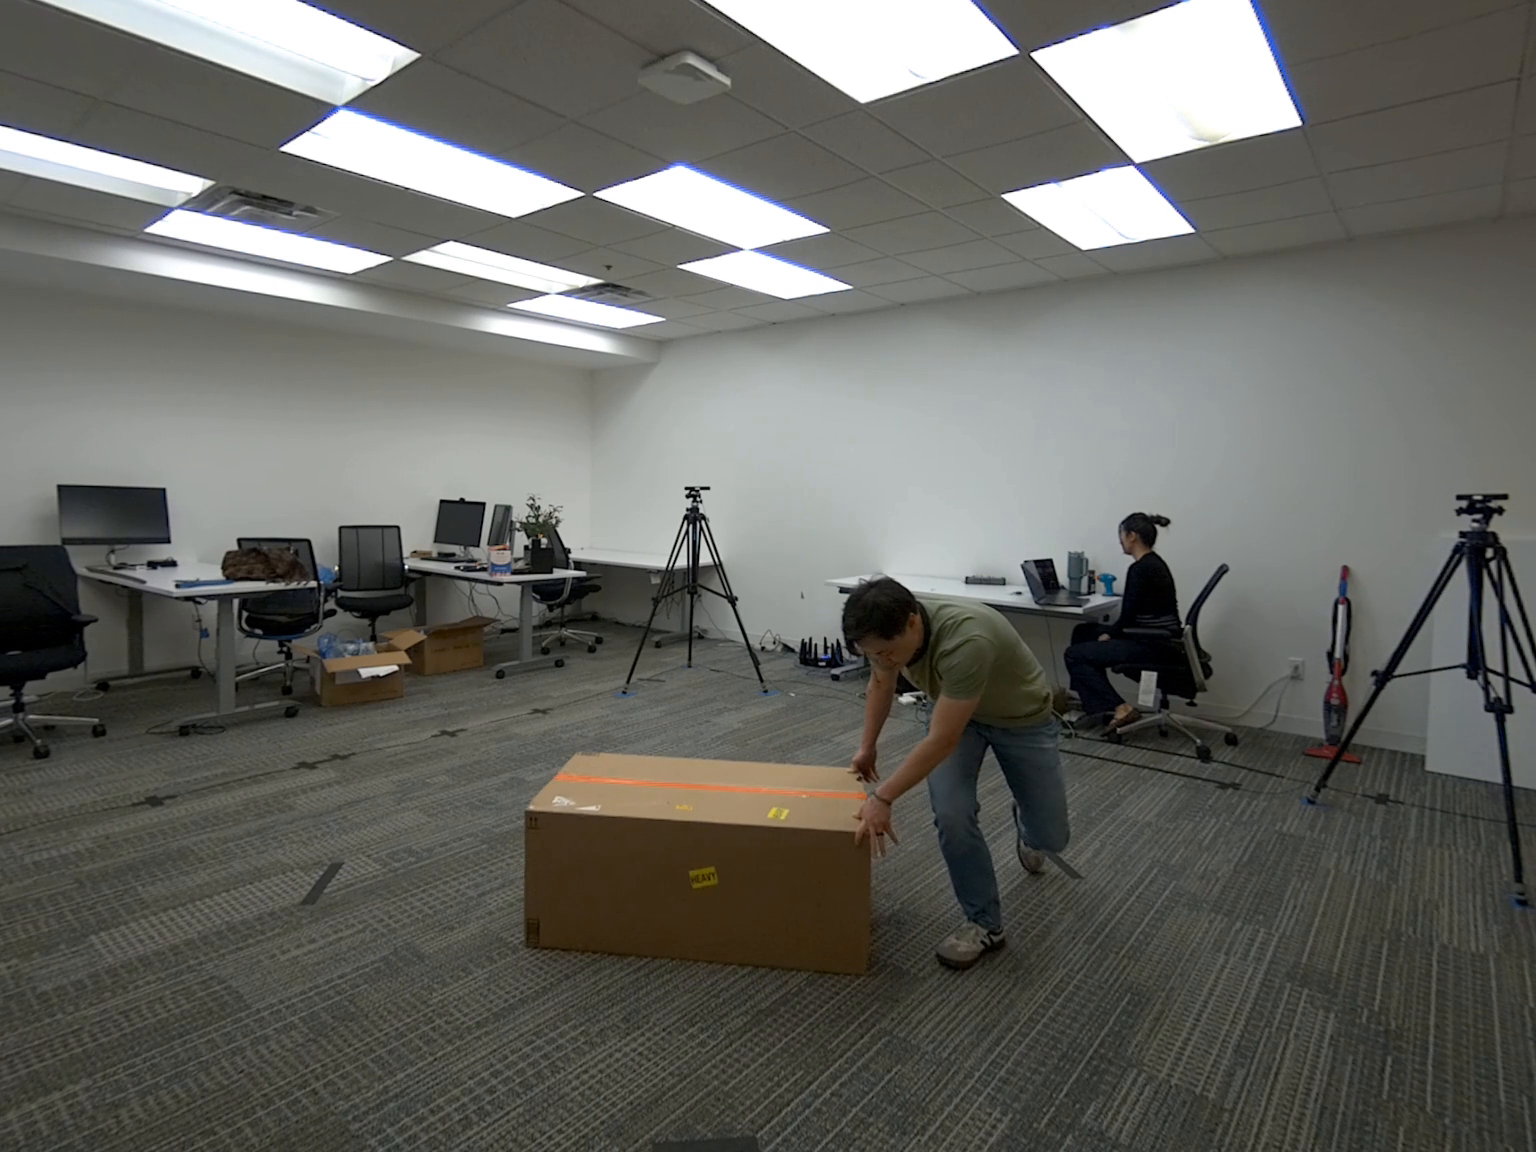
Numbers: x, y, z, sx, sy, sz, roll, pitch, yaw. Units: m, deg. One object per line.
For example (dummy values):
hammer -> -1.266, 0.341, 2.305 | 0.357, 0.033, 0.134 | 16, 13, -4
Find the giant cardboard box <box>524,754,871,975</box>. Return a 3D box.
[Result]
giant cardboard box -> -0.211, 0.886, 2.764 | 1.033, 0.424, 0.576 | 2, 5, 6
